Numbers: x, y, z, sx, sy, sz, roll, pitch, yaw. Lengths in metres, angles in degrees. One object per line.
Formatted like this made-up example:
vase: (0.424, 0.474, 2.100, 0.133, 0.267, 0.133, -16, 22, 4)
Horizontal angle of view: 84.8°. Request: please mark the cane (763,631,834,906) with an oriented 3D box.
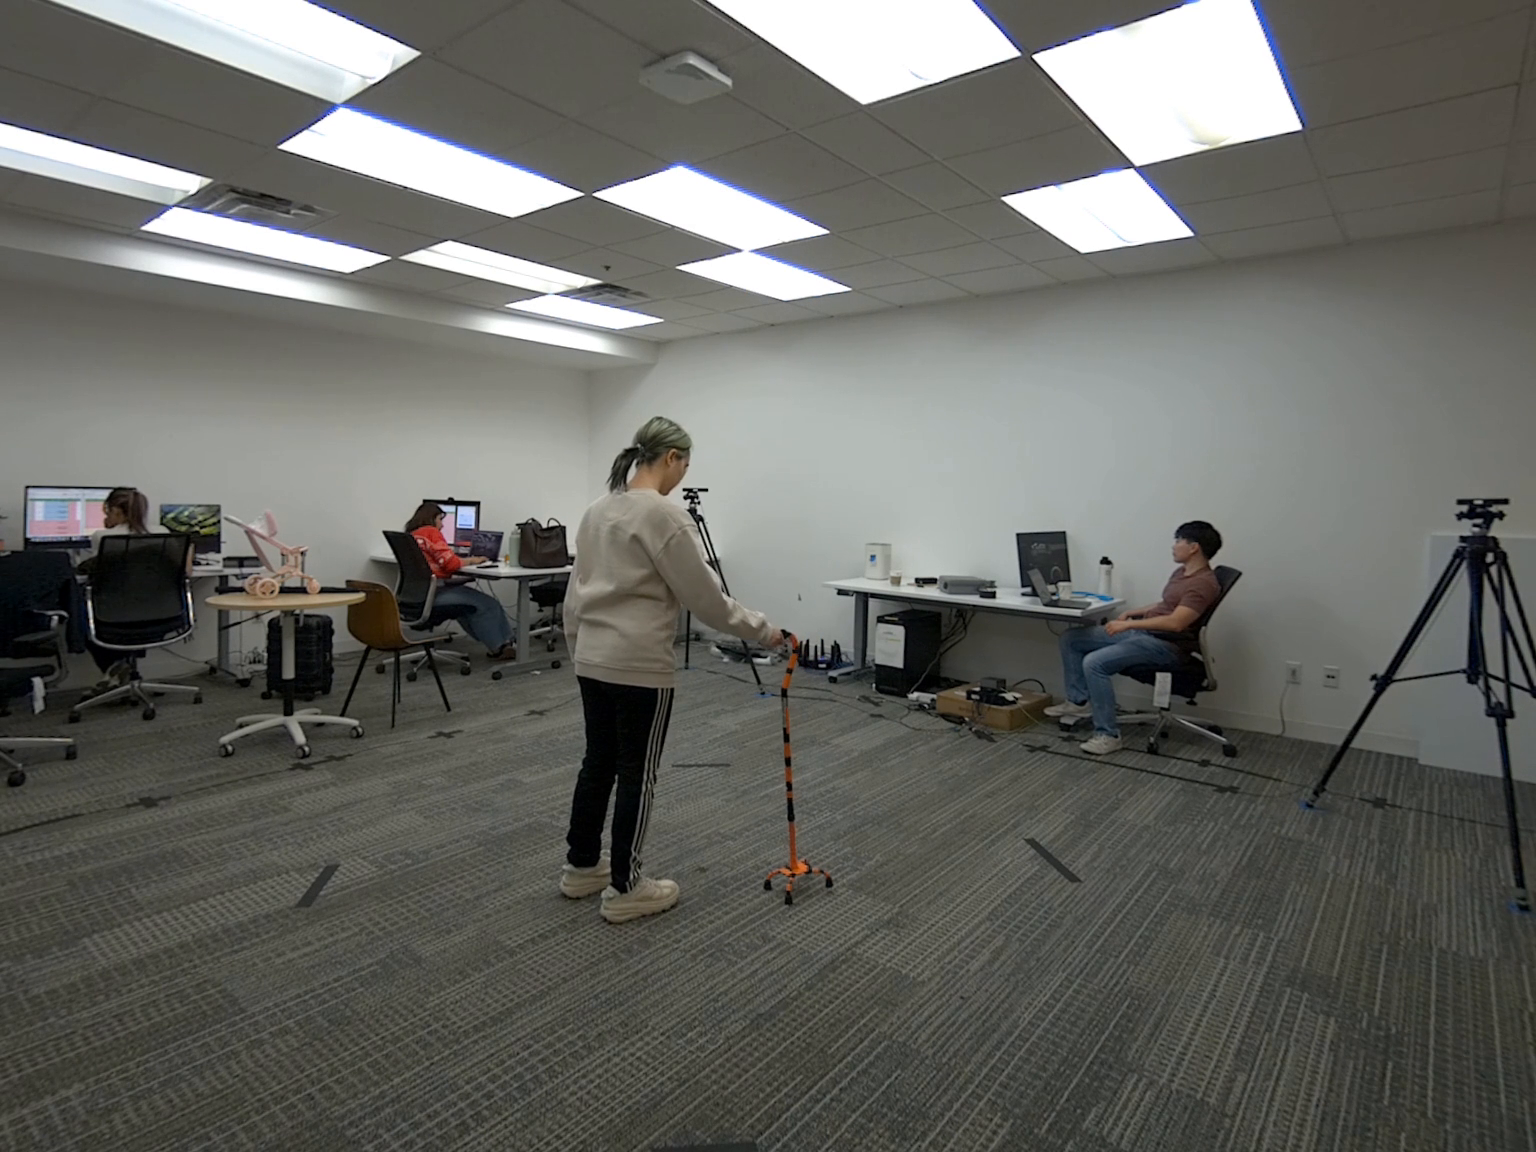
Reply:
cane: (0.074, 0.639, 2.921, 0.201, 0.903, 0.156, -6, 6, -34)
